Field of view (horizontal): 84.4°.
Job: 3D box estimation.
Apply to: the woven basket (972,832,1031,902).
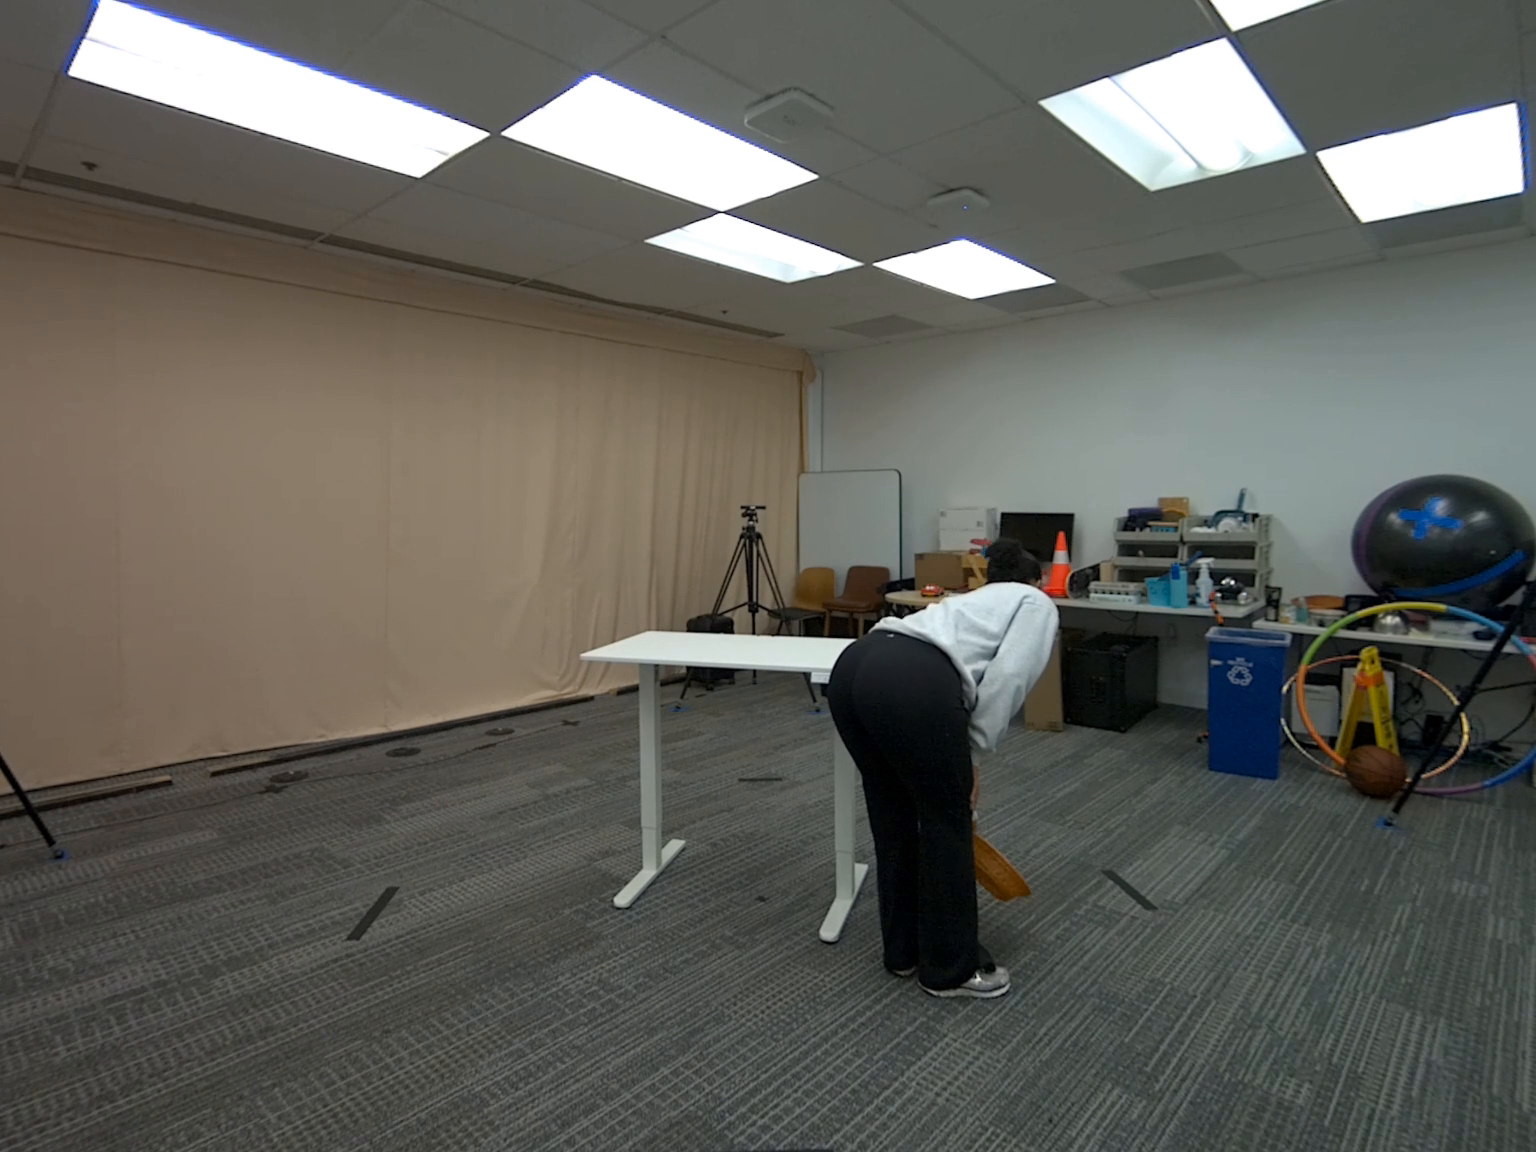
[{"bbox_3d":[0.710,0.929,2.674,0.260,0.073,0.341,42,-10,27],"label":"woven basket"}]
